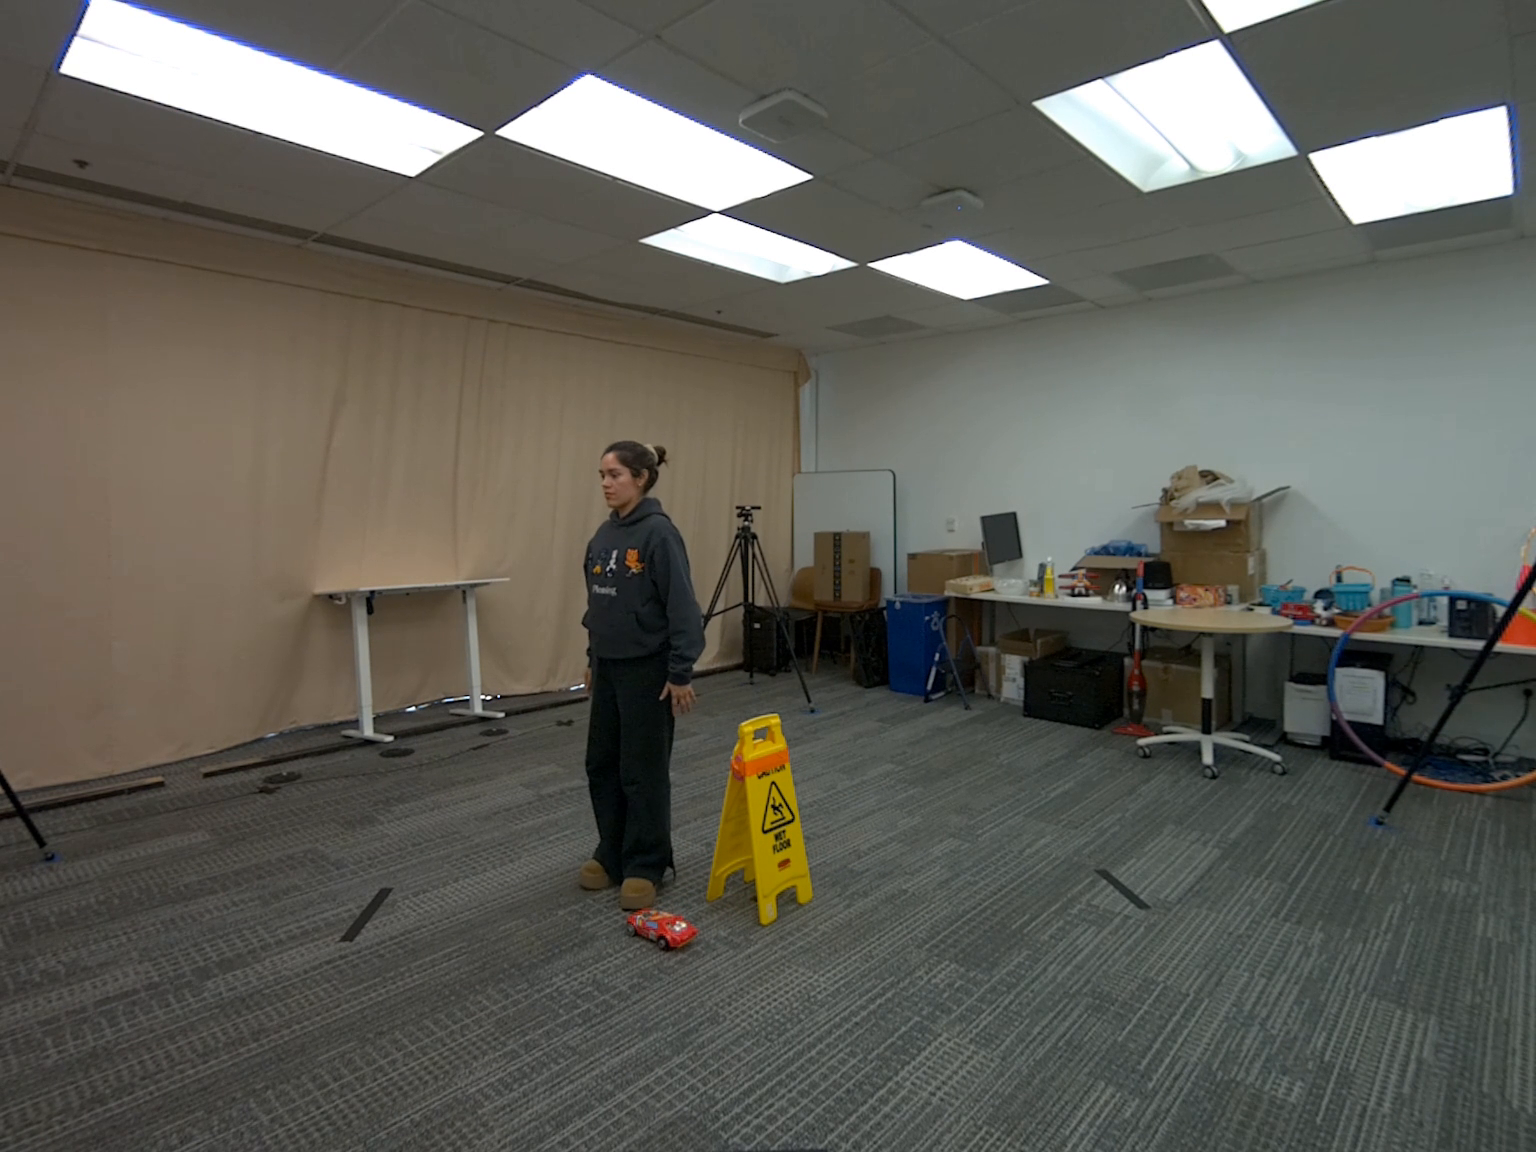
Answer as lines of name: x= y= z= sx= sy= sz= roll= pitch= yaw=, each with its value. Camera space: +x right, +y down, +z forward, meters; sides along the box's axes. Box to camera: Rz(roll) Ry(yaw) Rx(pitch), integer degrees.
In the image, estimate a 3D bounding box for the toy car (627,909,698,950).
toy car: x=-0.317 y=1.138 z=2.708 sx=0.261 sy=0.083 sz=0.126 roll=-12 pitch=-3 yaw=40
